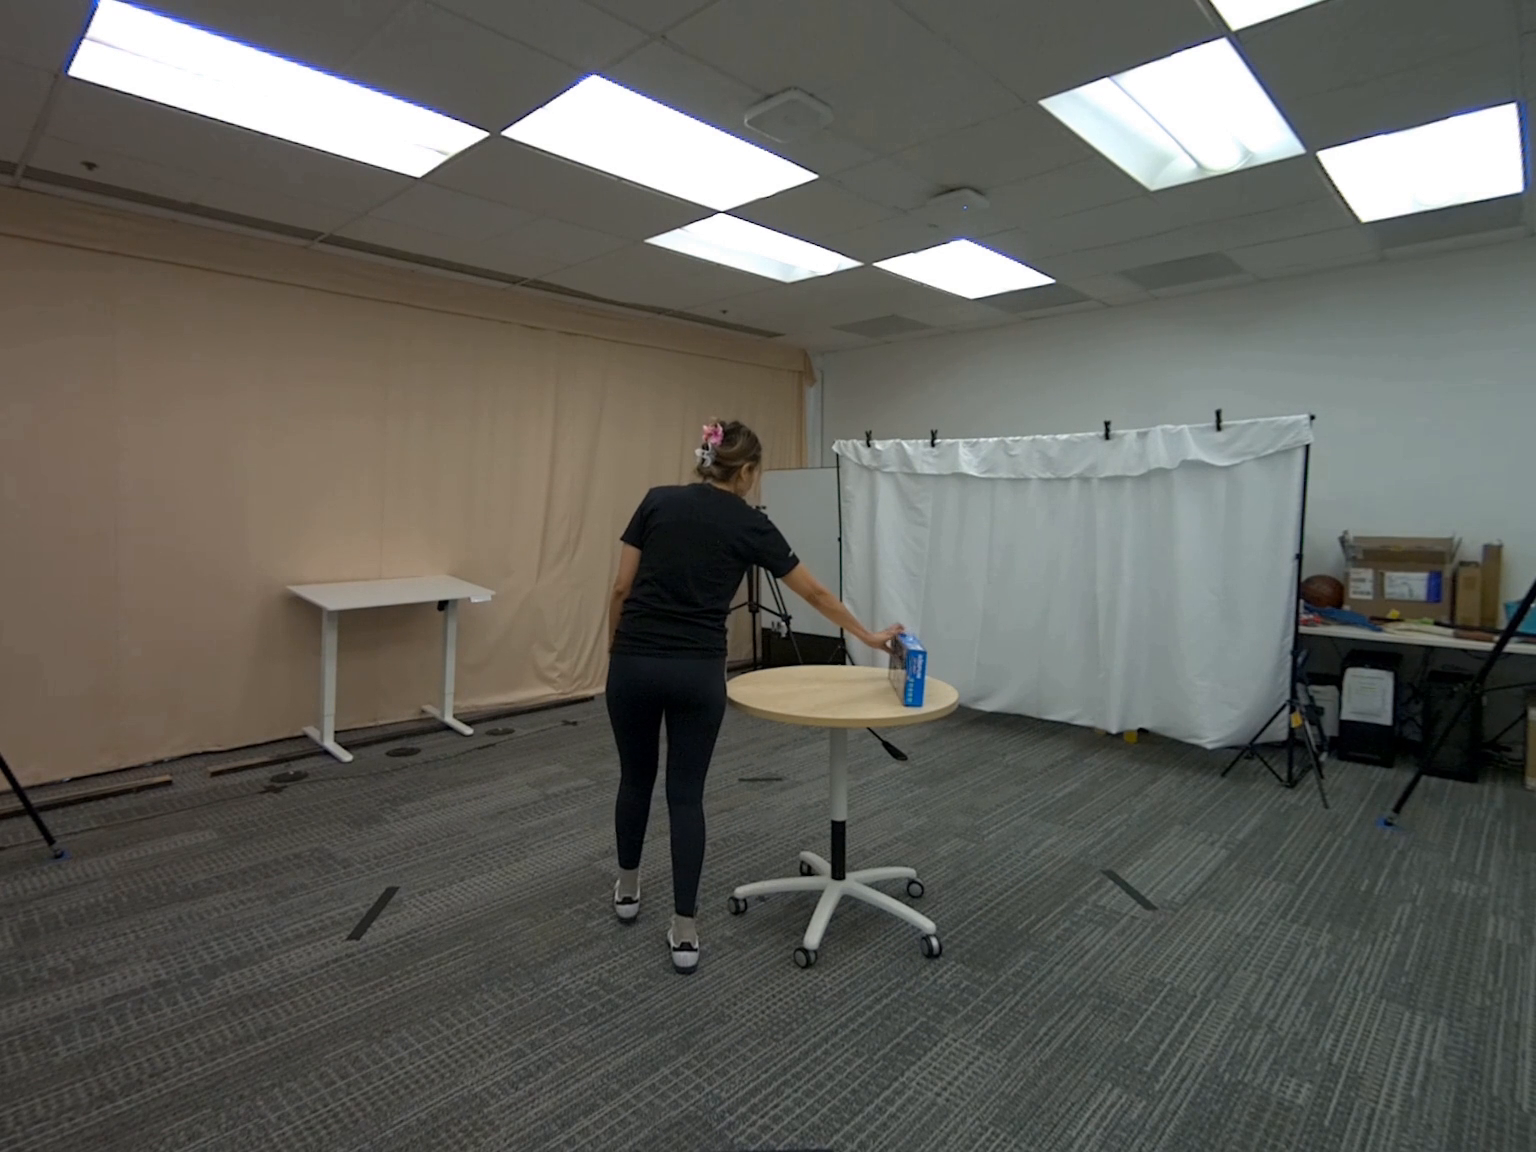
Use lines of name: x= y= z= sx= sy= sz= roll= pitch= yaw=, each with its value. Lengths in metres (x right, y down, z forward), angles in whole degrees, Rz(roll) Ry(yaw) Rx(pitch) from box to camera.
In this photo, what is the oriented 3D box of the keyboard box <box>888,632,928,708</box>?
keyboard box: x=0.454 y=0.290 z=2.750 sx=0.059 sy=0.175 sz=0.435 roll=6 pitch=5 yaw=3
